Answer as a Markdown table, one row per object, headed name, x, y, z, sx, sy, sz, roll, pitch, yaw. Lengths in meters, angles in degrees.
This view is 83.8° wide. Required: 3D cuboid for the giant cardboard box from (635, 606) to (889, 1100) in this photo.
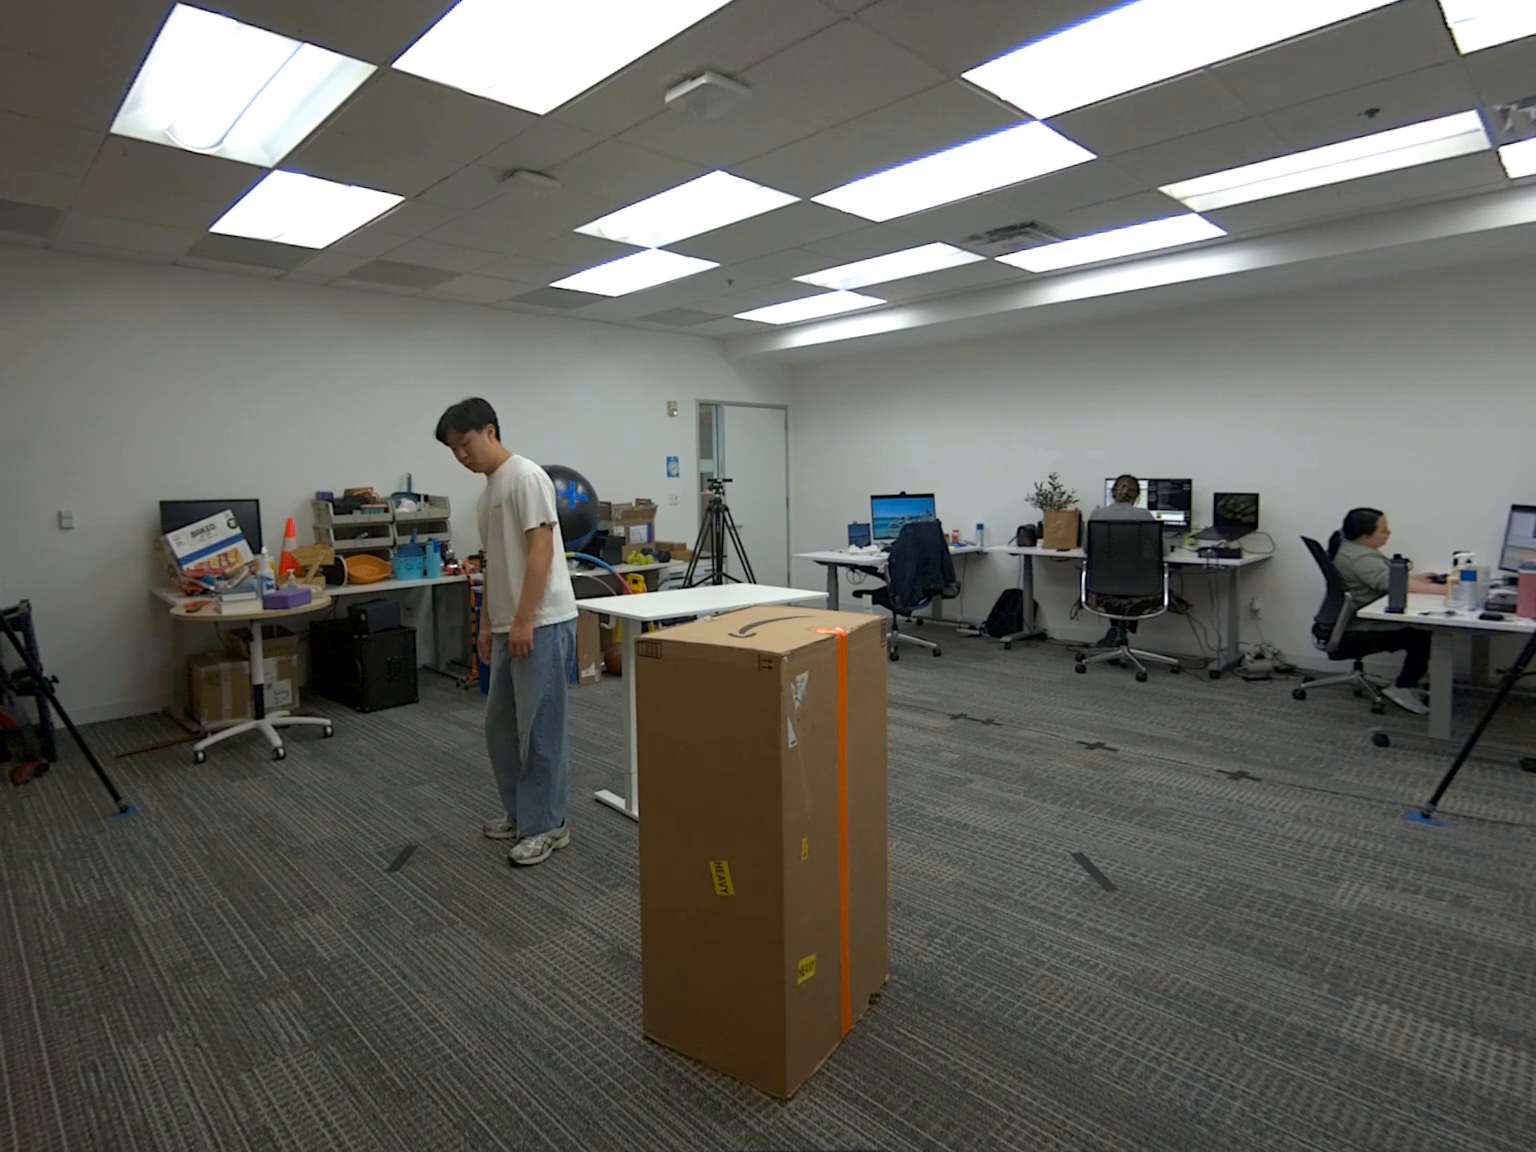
| name | x | y | z | sx | sy | sz | roll | pitch | yaw |
| --- | --- | --- | --- | --- | --- | --- | --- | --- | --- |
| giant cardboard box | 0.009 | 0.635 | 2.238 | 0.438 | 1.022 | 0.564 | 2 | 5 | 34 |
